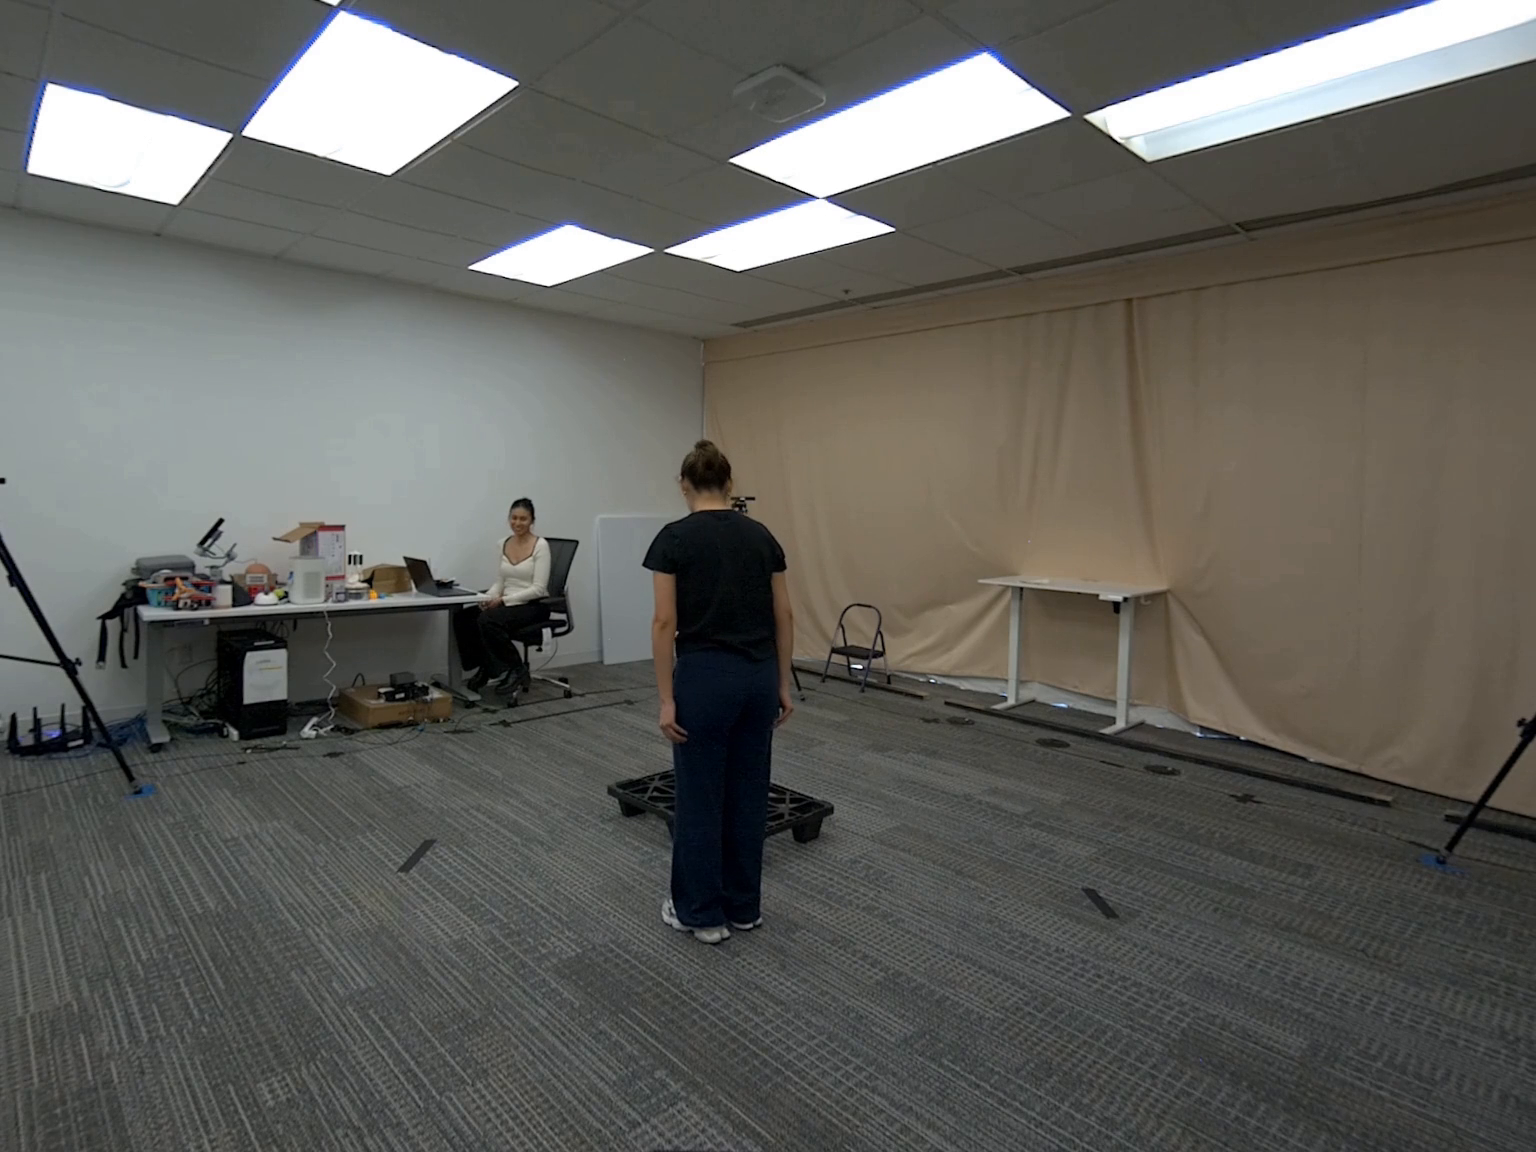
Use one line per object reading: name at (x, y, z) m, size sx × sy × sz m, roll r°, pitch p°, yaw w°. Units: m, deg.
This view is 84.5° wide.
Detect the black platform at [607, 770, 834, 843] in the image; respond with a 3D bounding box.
black platform at (-0.218, 1.000, 3.559) m, size 0.826 × 0.143 × 0.591 m, roll 6°, pitch 7°, yaw 45°
